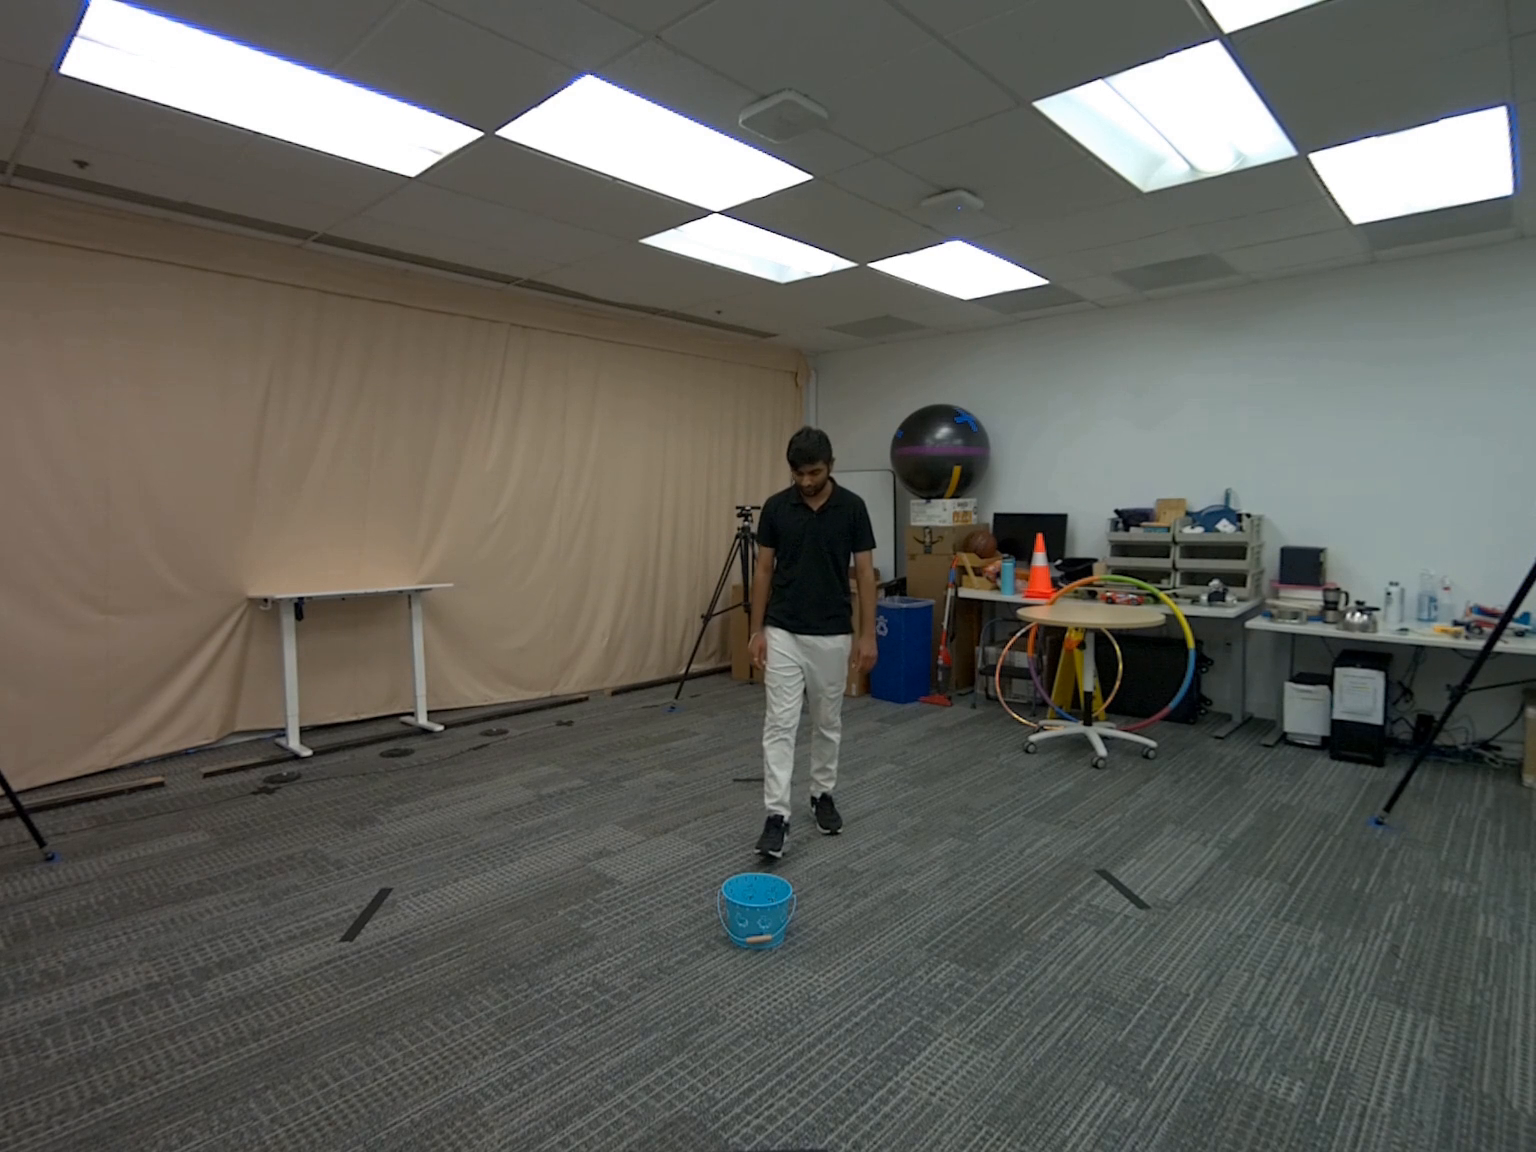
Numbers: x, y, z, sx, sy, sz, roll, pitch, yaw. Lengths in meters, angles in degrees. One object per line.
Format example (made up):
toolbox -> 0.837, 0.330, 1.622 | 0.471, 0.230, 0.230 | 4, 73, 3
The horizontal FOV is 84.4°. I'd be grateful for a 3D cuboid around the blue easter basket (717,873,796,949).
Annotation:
blue easter basket -> -0.037, 1.089, 2.725 | 0.243, 0.155, 0.244 | 0, 4, -2
